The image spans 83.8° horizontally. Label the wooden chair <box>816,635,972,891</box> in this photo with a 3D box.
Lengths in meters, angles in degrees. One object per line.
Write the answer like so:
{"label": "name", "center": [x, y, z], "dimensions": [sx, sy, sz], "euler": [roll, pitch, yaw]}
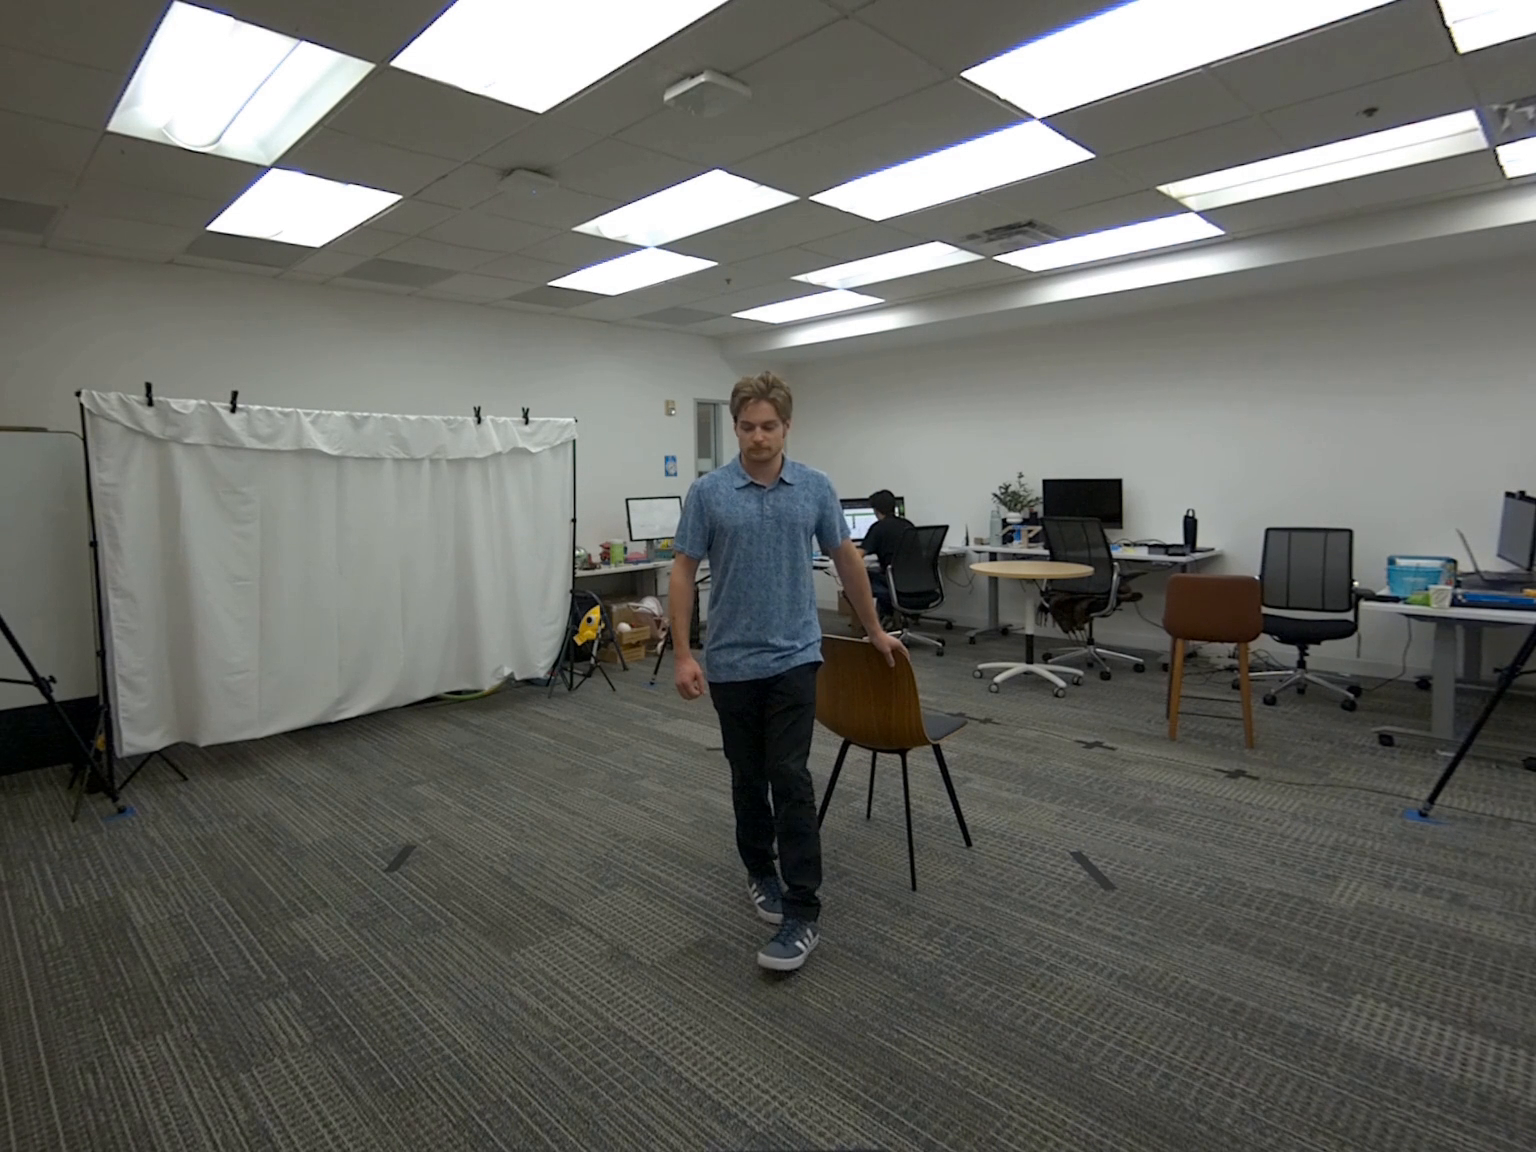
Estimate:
{"label": "wooden chair", "center": [0.450, 0.598, 3.161], "dimensions": [0.492, 0.871, 0.512], "euler": [2, 10, 39]}
